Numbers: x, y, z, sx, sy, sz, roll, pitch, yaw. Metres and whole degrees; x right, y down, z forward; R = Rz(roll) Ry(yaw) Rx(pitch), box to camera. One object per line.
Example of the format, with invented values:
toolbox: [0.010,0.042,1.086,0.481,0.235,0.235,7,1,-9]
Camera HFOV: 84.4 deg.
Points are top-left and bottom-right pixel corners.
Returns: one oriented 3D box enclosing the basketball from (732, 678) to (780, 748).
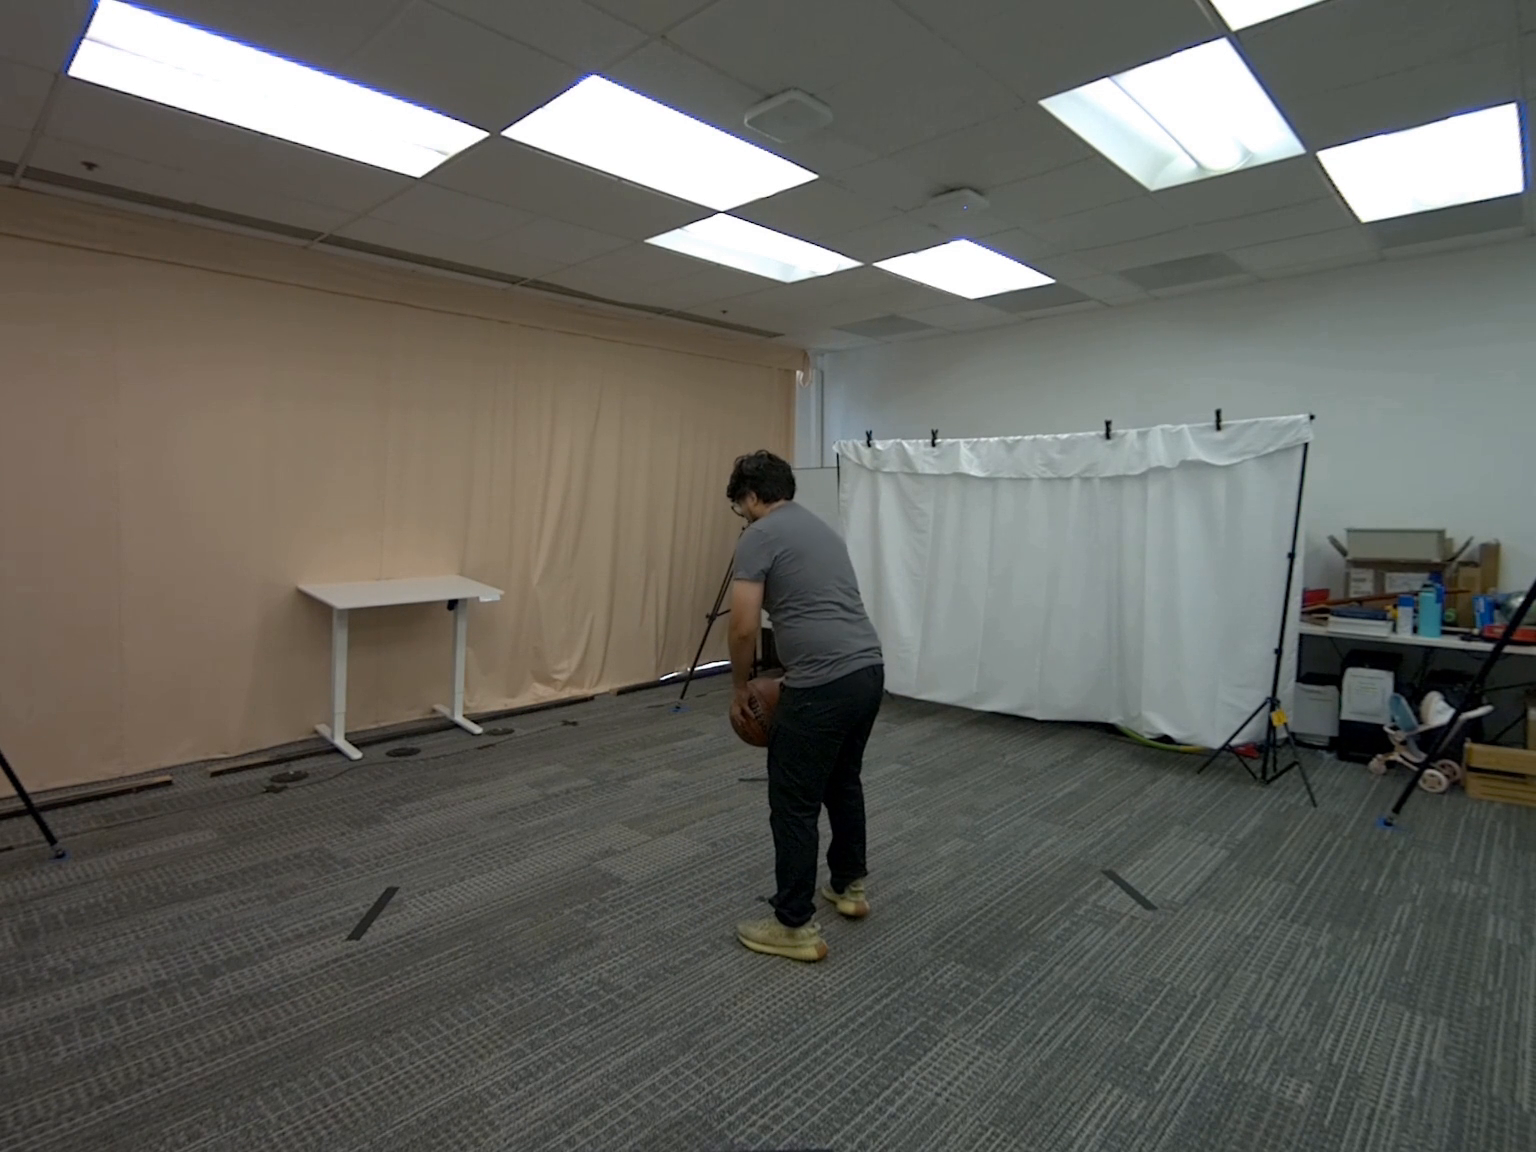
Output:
basketball: [-0.008,0.483,2.954,0.236,0.235,0.237,0,4,-2]
